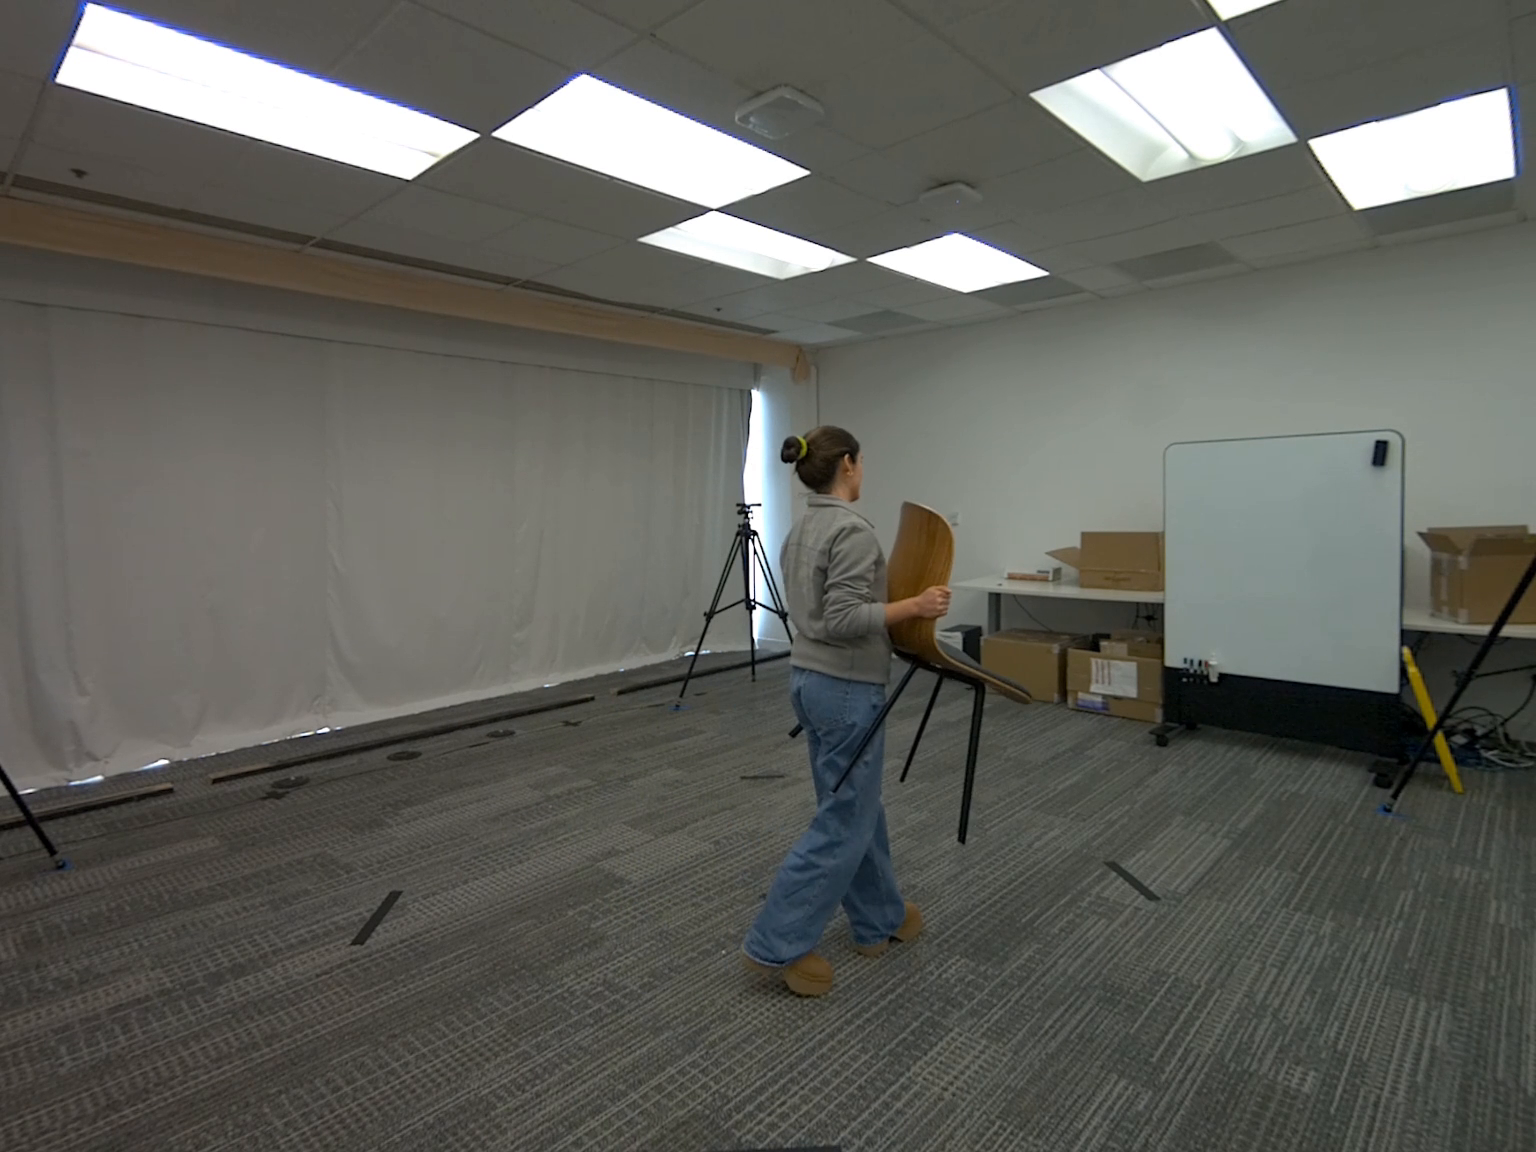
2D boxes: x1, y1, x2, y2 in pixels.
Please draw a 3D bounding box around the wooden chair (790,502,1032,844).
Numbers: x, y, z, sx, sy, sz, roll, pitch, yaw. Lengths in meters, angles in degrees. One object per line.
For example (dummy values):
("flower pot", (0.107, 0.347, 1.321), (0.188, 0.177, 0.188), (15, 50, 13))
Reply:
("wooden chair", (0.512, 0.281, 2.579), (0.514, 0.876, 0.487), (20, 3, -15))
